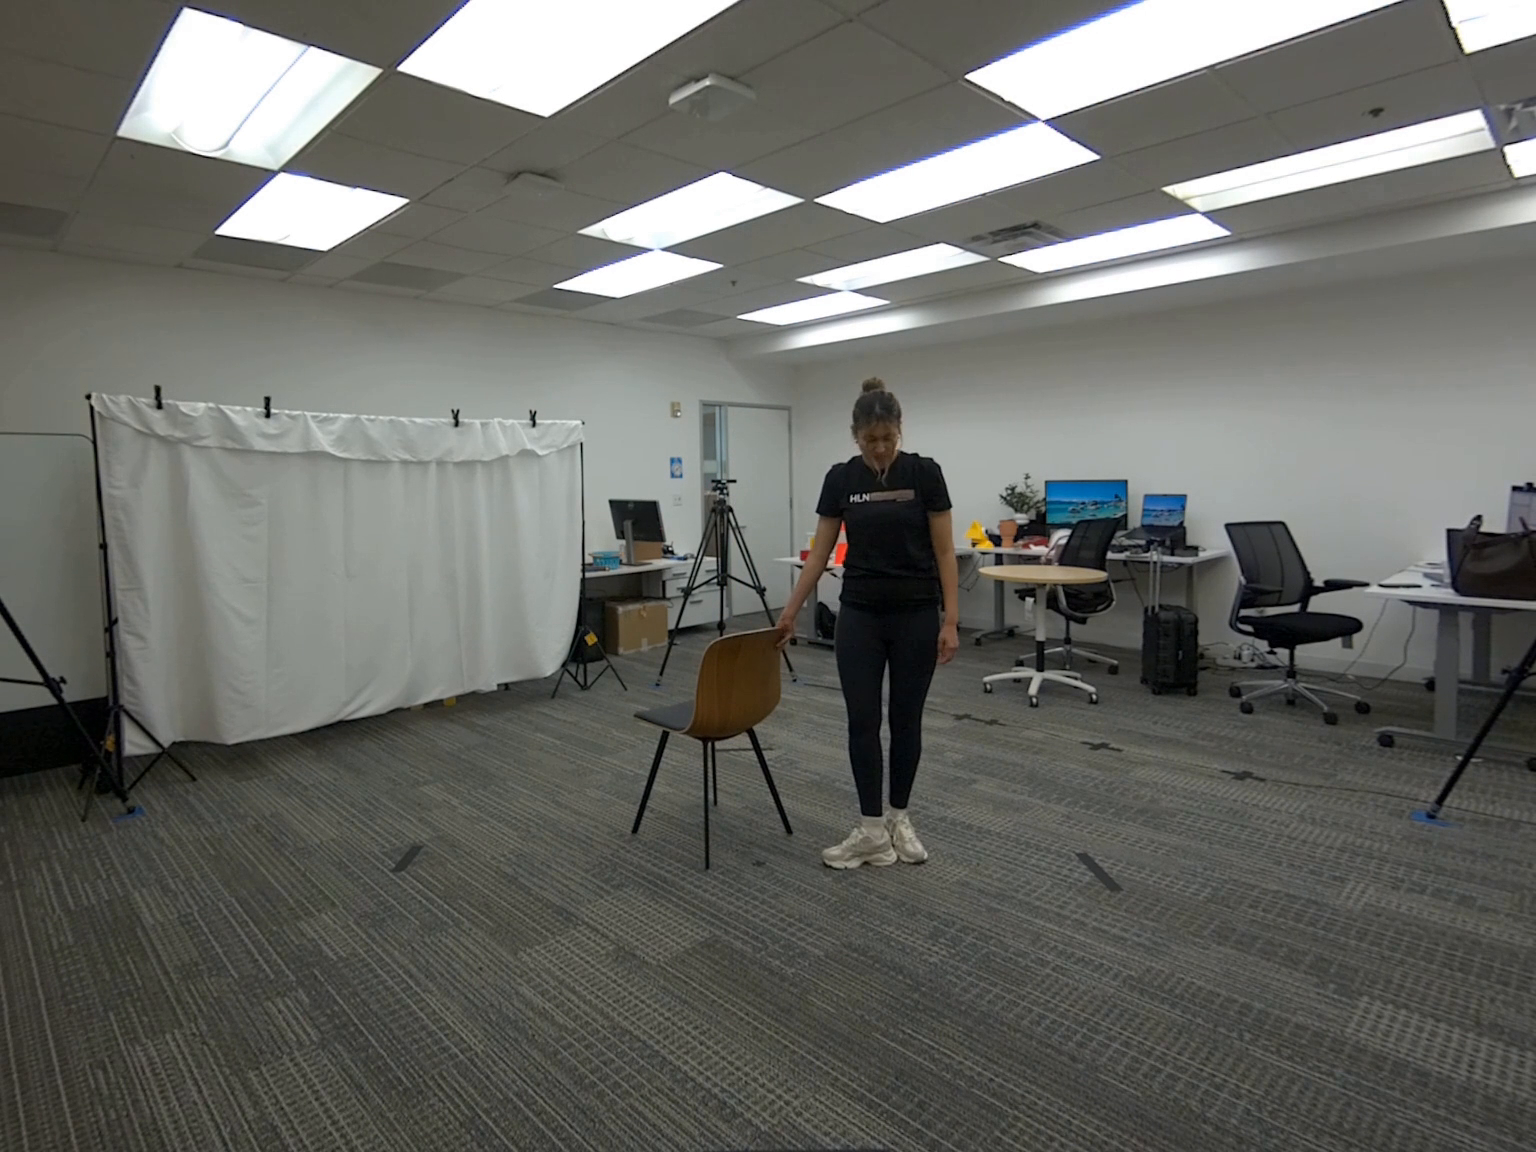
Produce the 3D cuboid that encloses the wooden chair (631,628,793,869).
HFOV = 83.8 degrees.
[{"bbox_3d":[-0.232,0.594,3.349,0.465,0.871,0.541,-5,11,-43],"label":"wooden chair"}]
